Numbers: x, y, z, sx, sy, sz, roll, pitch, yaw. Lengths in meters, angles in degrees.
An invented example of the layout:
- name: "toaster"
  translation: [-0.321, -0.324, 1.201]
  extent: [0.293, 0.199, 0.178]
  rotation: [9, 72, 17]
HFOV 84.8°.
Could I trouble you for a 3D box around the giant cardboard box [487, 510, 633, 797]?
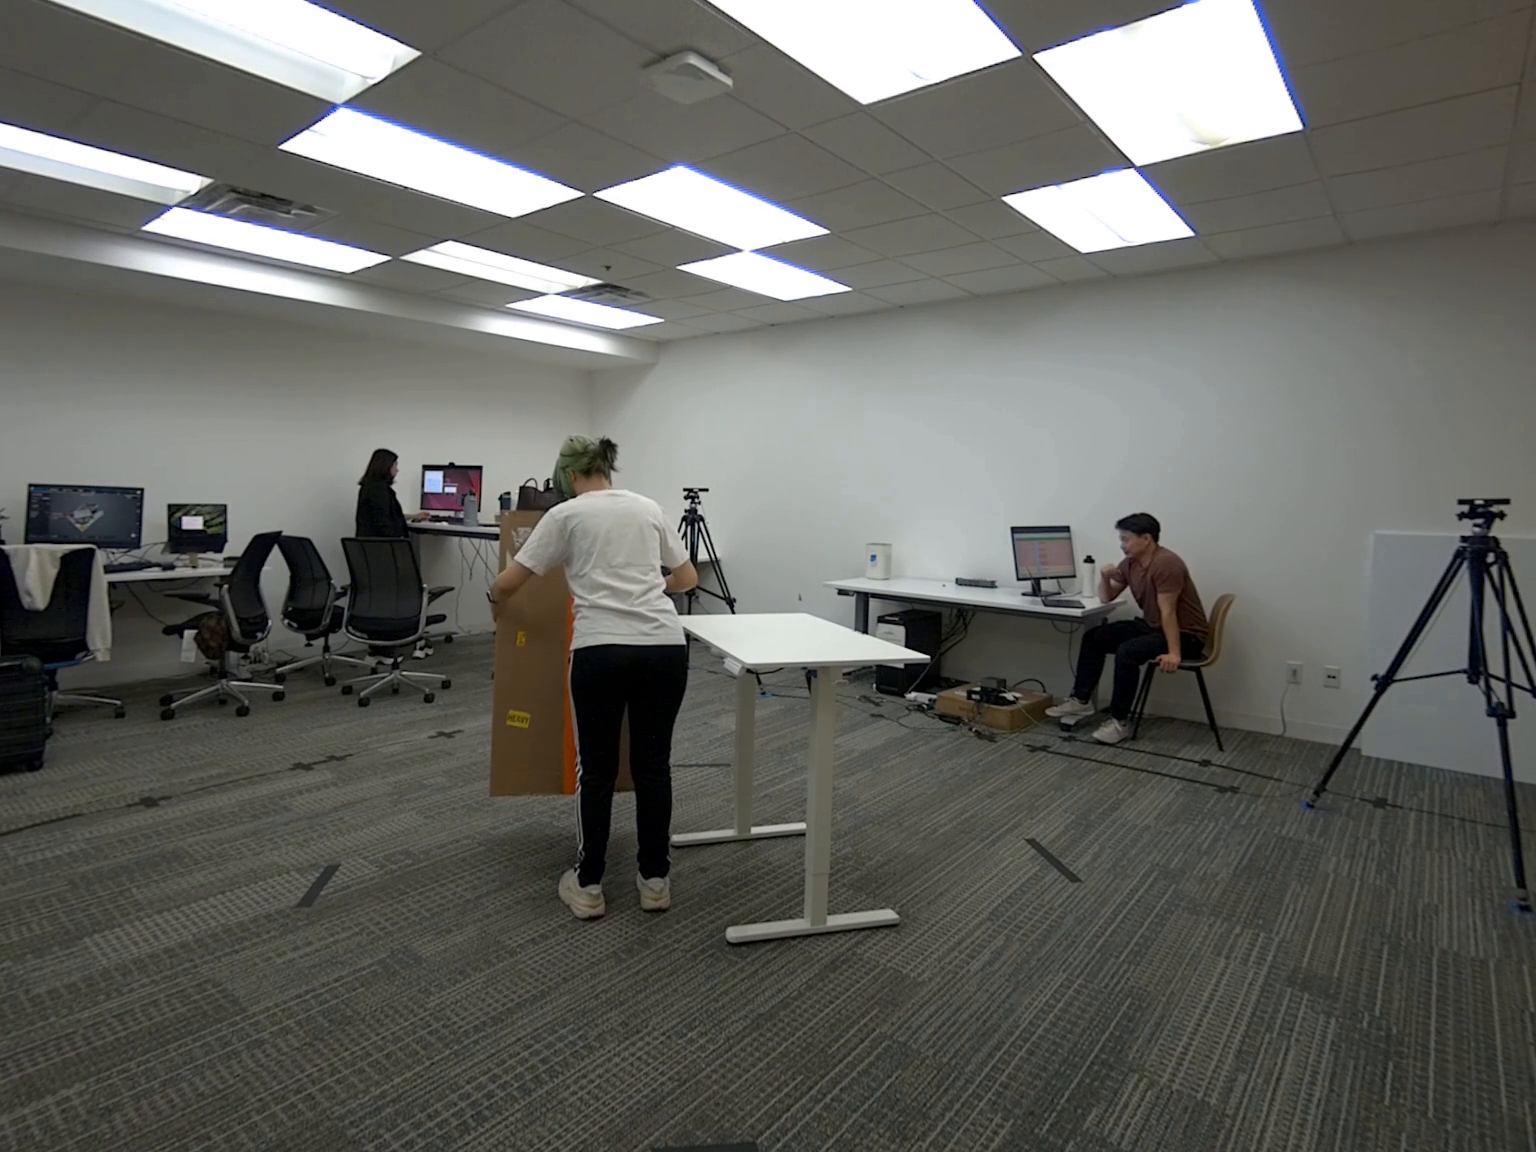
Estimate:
- name: "giant cardboard box"
  translation: [-0.769, 0.294, 3.311]
  extent: [0.576, 1.035, 0.449]
  rotation: [1, -7, -12]
